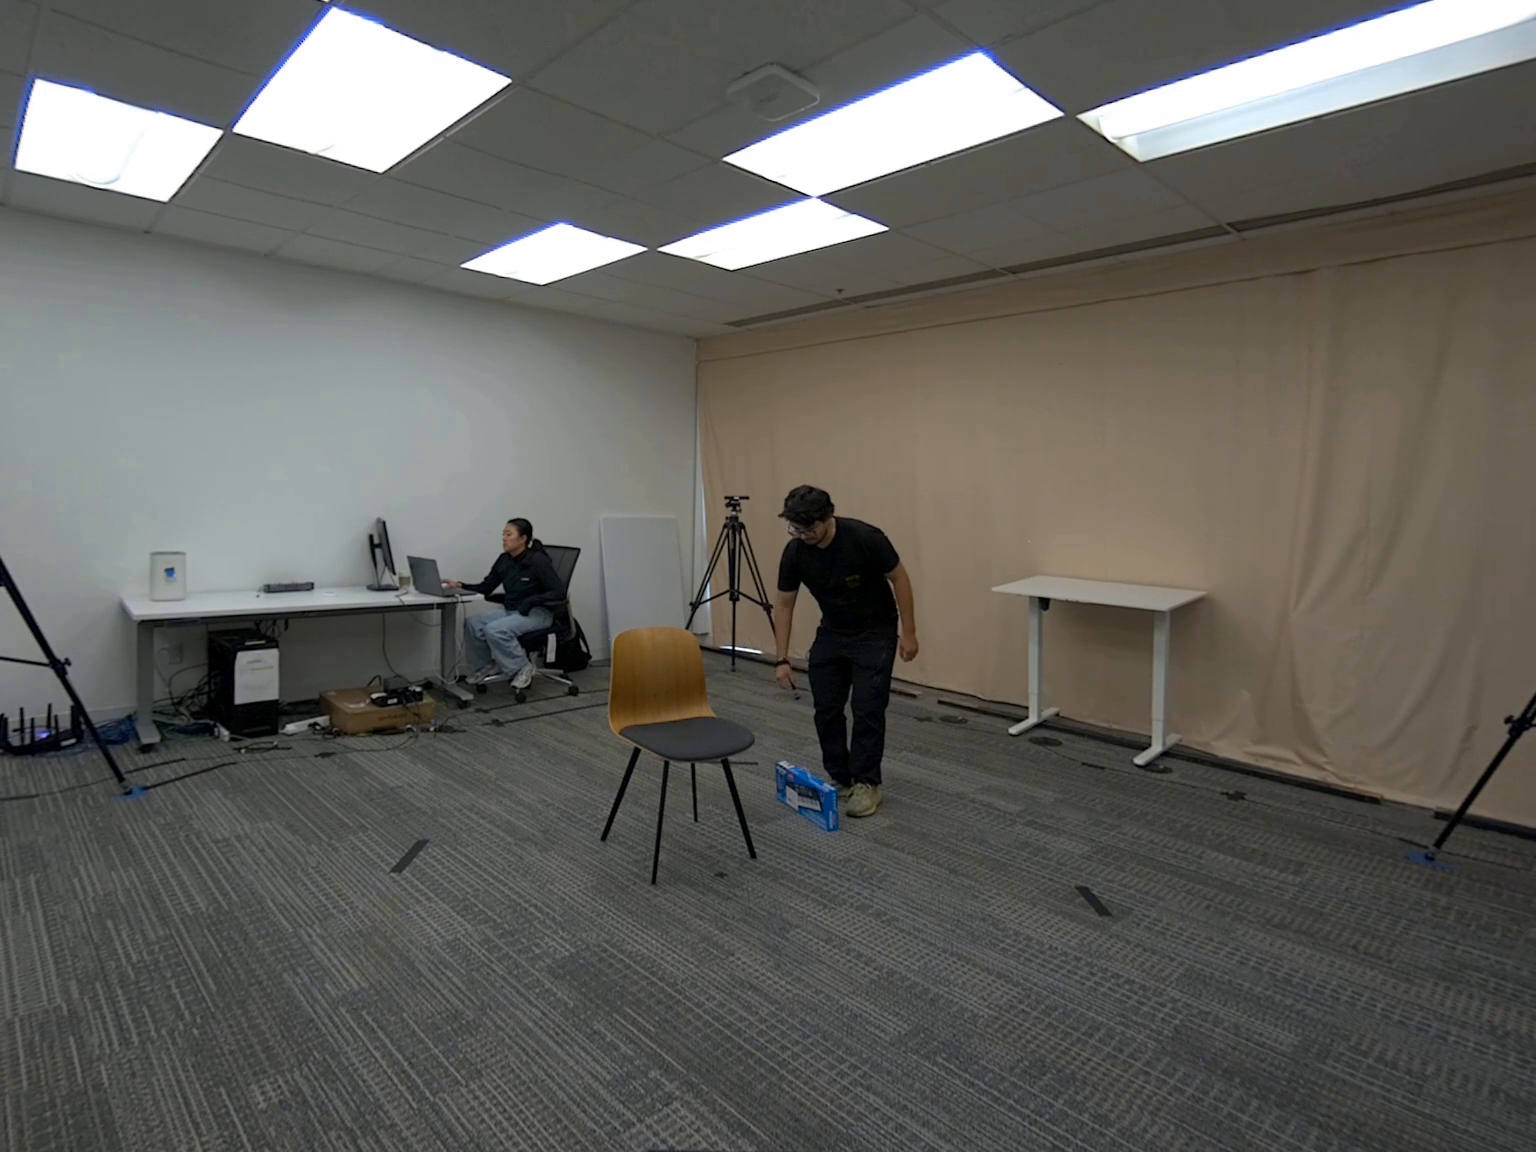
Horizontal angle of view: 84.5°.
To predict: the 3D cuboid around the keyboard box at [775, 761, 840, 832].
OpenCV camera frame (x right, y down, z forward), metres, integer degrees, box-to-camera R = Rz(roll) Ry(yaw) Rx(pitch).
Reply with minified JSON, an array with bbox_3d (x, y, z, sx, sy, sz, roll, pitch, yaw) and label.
[{"bbox_3d":[0.159,0.973,3.744,0.058,0.175,0.446,-4,6,-28],"label":"keyboard box"}]
